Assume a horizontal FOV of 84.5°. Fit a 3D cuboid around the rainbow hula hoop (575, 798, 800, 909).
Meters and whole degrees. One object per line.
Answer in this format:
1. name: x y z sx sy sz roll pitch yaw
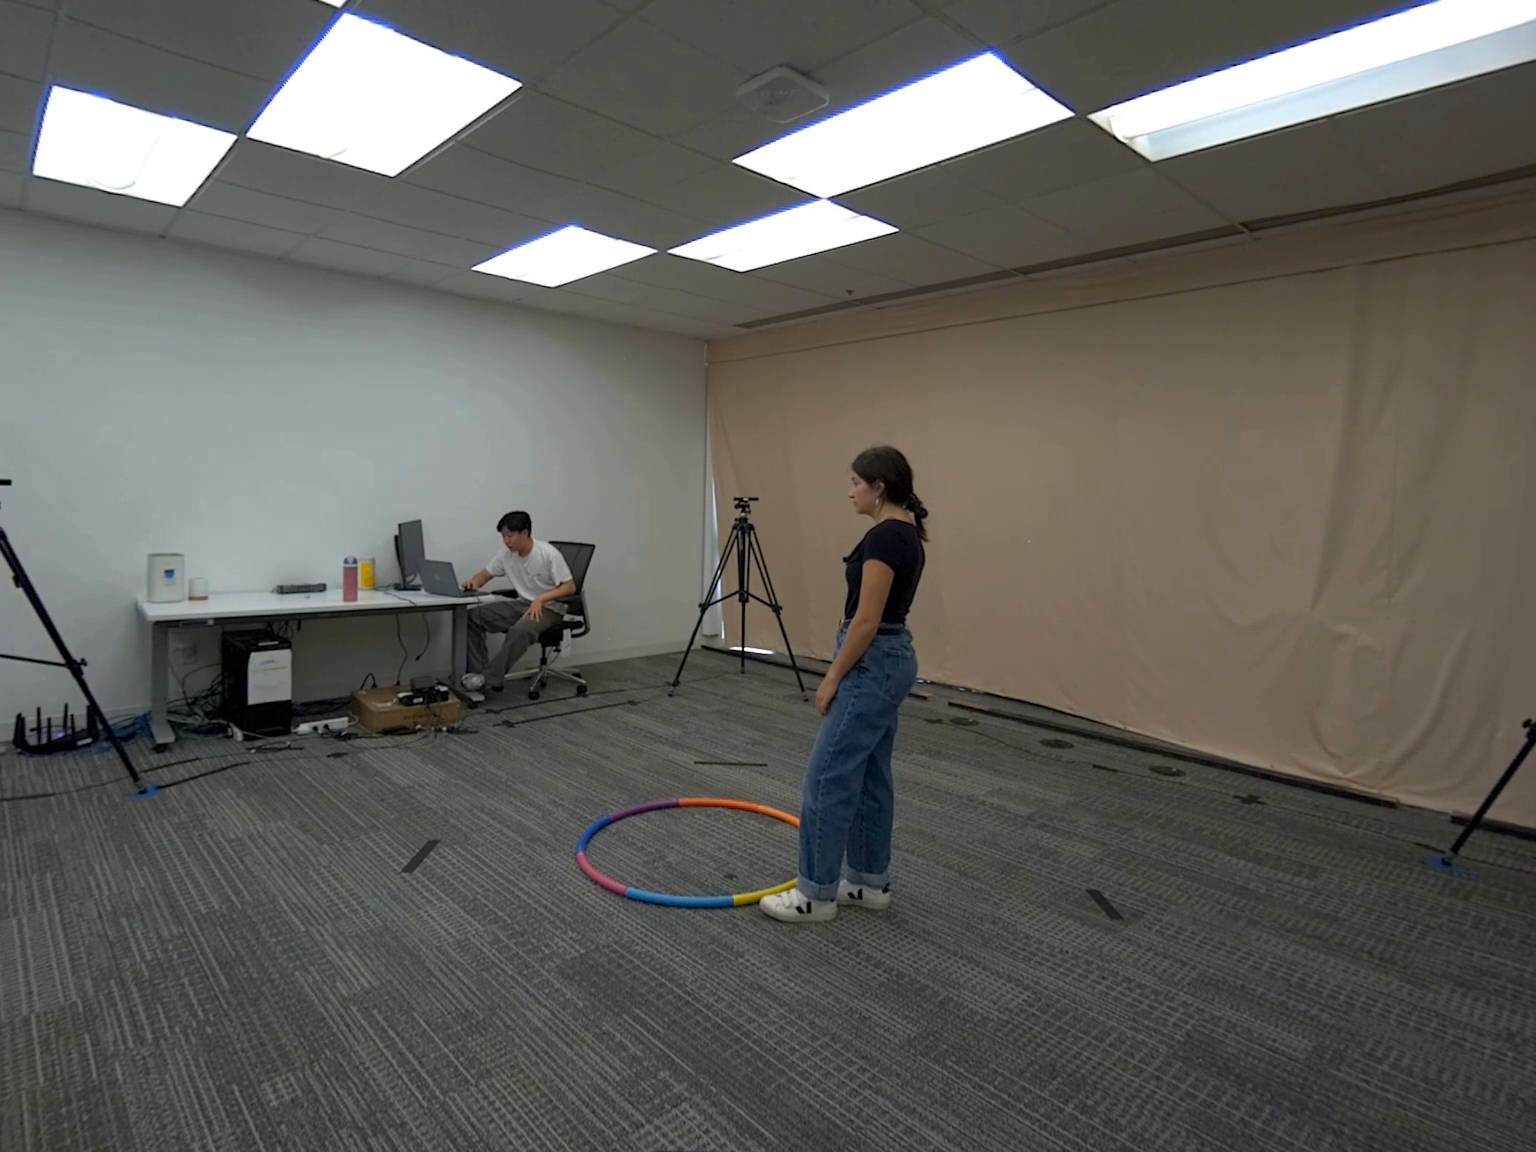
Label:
1. rainbow hula hoop: -0.265 1.059 3.332 0.978 0.035 0.982 1 5 -1
